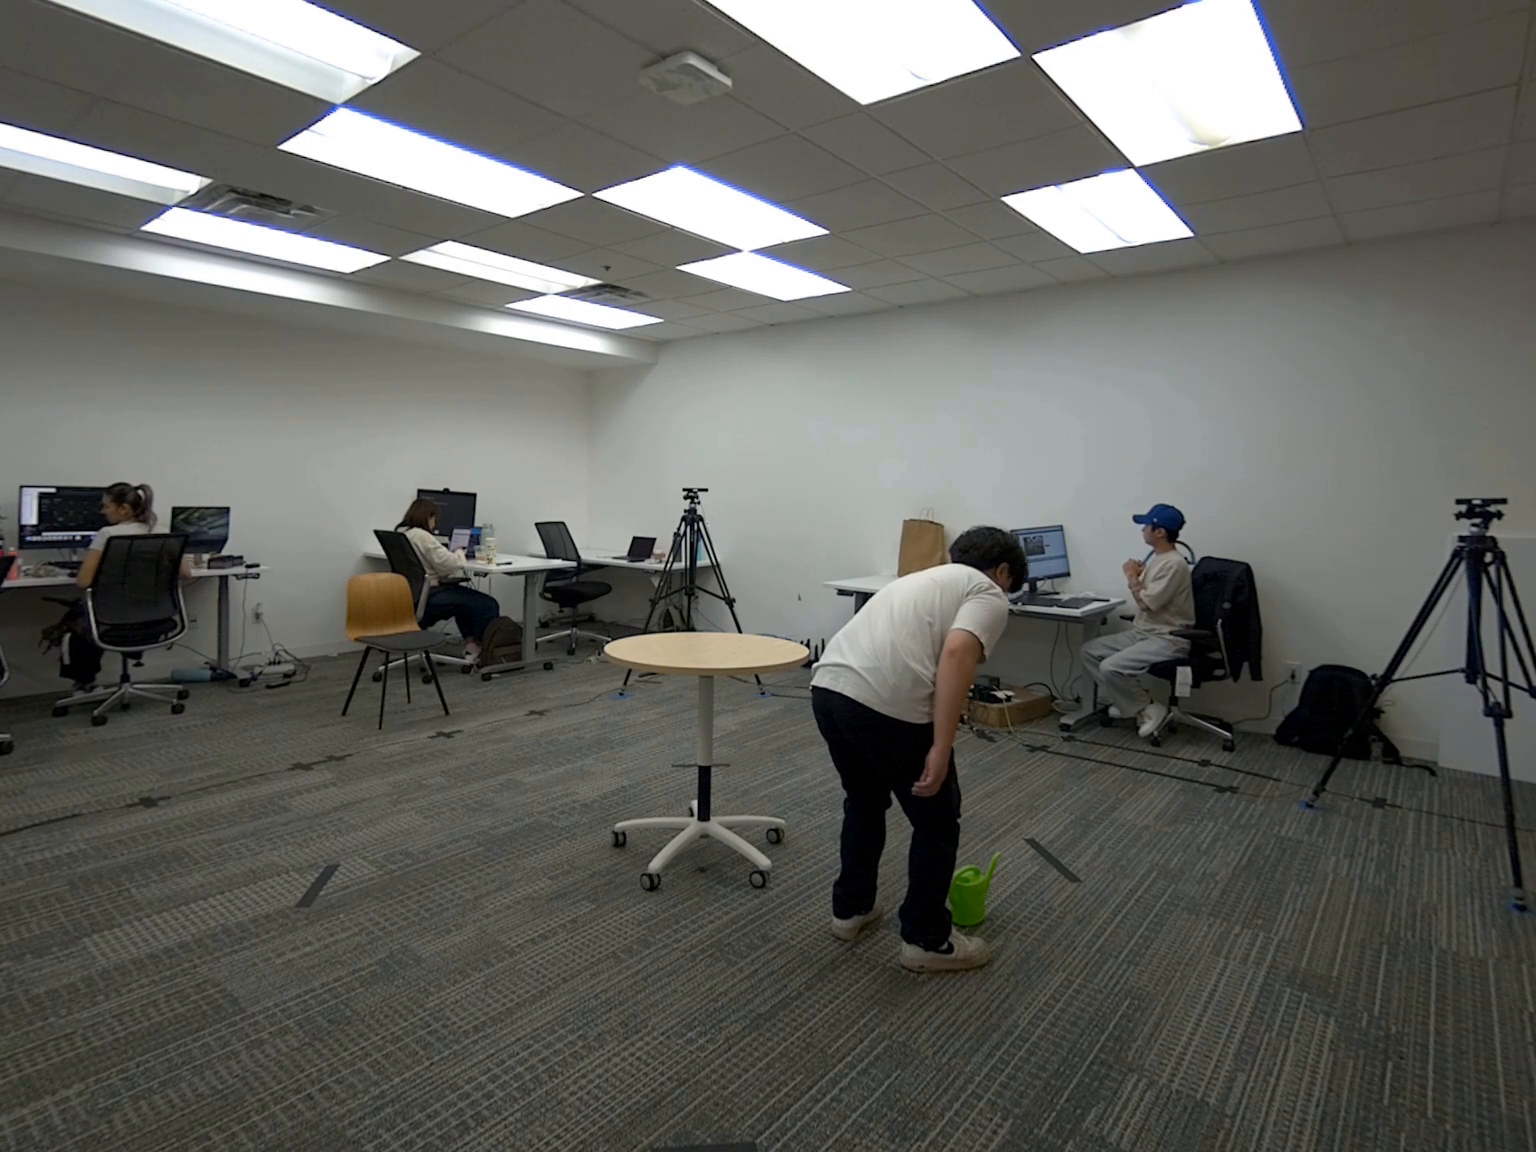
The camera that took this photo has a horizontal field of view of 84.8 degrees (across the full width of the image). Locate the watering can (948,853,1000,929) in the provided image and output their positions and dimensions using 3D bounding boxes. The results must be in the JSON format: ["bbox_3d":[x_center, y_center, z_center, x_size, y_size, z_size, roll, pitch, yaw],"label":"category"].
[{"bbox_3d":[0.697,1.034,2.808,0.272,0.176,0.100,-3,4,-21],"label":"watering can"}]
